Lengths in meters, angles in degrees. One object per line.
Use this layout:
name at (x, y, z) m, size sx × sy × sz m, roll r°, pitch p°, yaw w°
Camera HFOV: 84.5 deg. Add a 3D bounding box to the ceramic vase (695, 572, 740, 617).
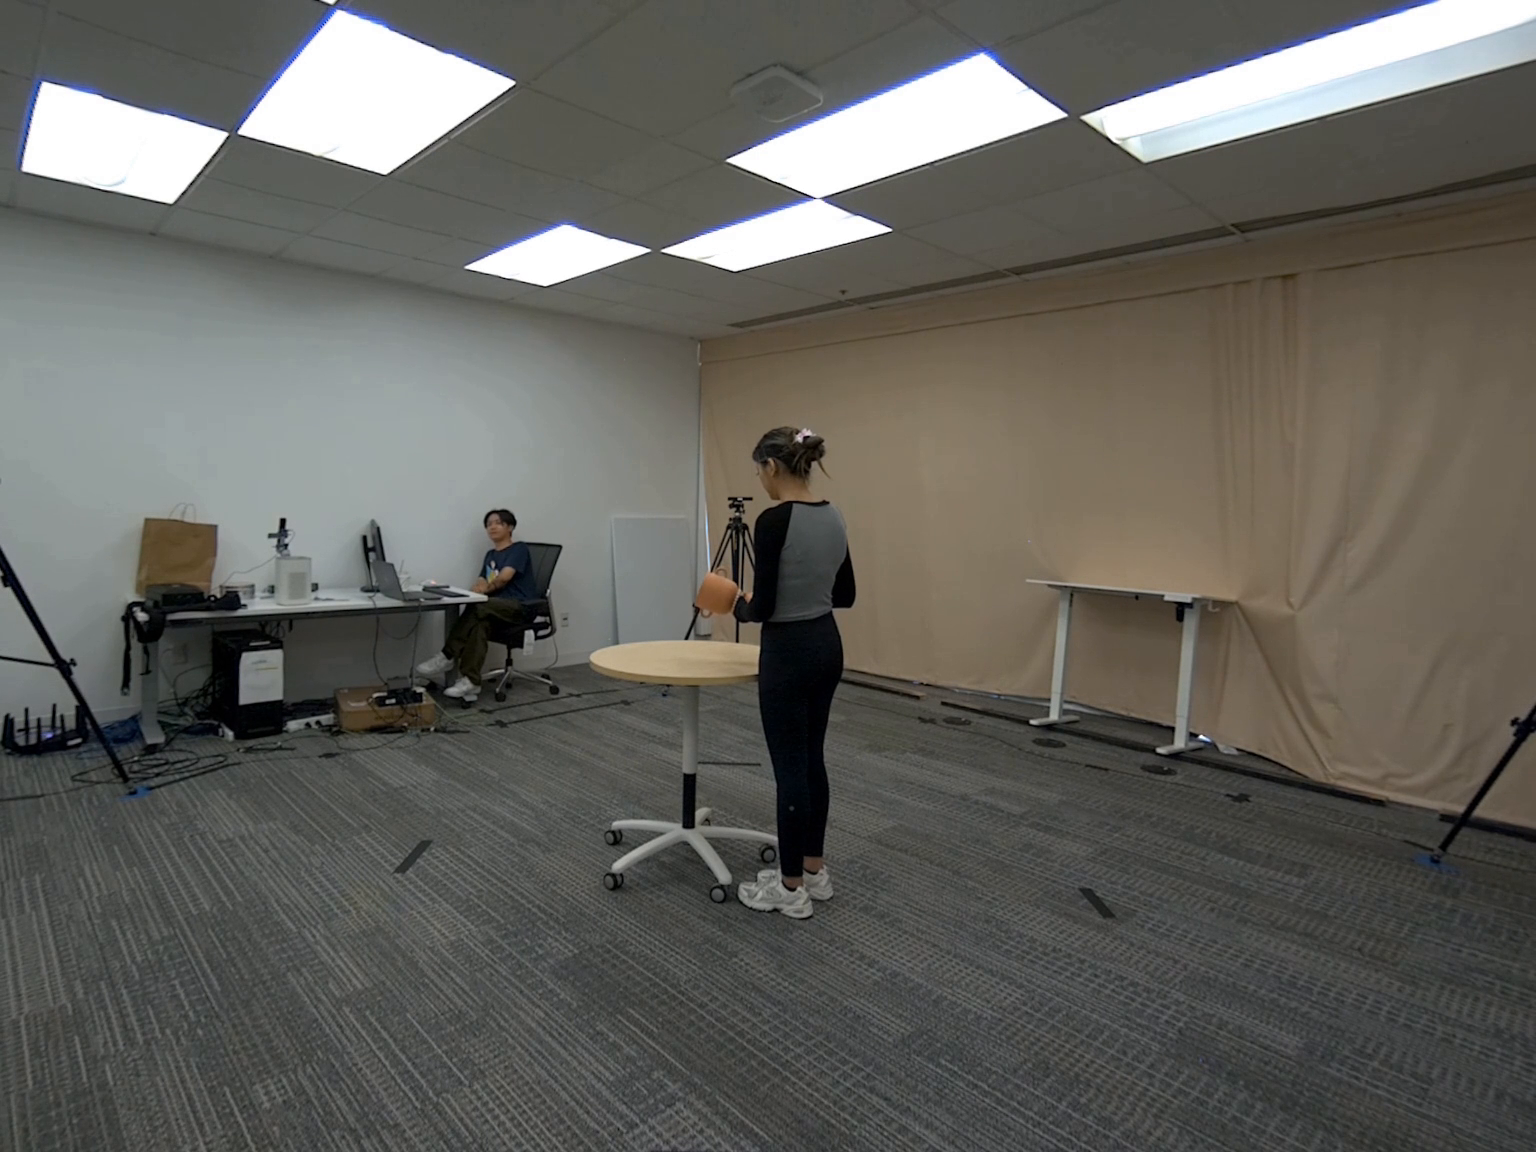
ceramic vase at (-0.151, 0.084, 3.060) m, size 0.220 × 0.156 × 0.136 m, roll 21°, pitch 45°, yaw 3°
